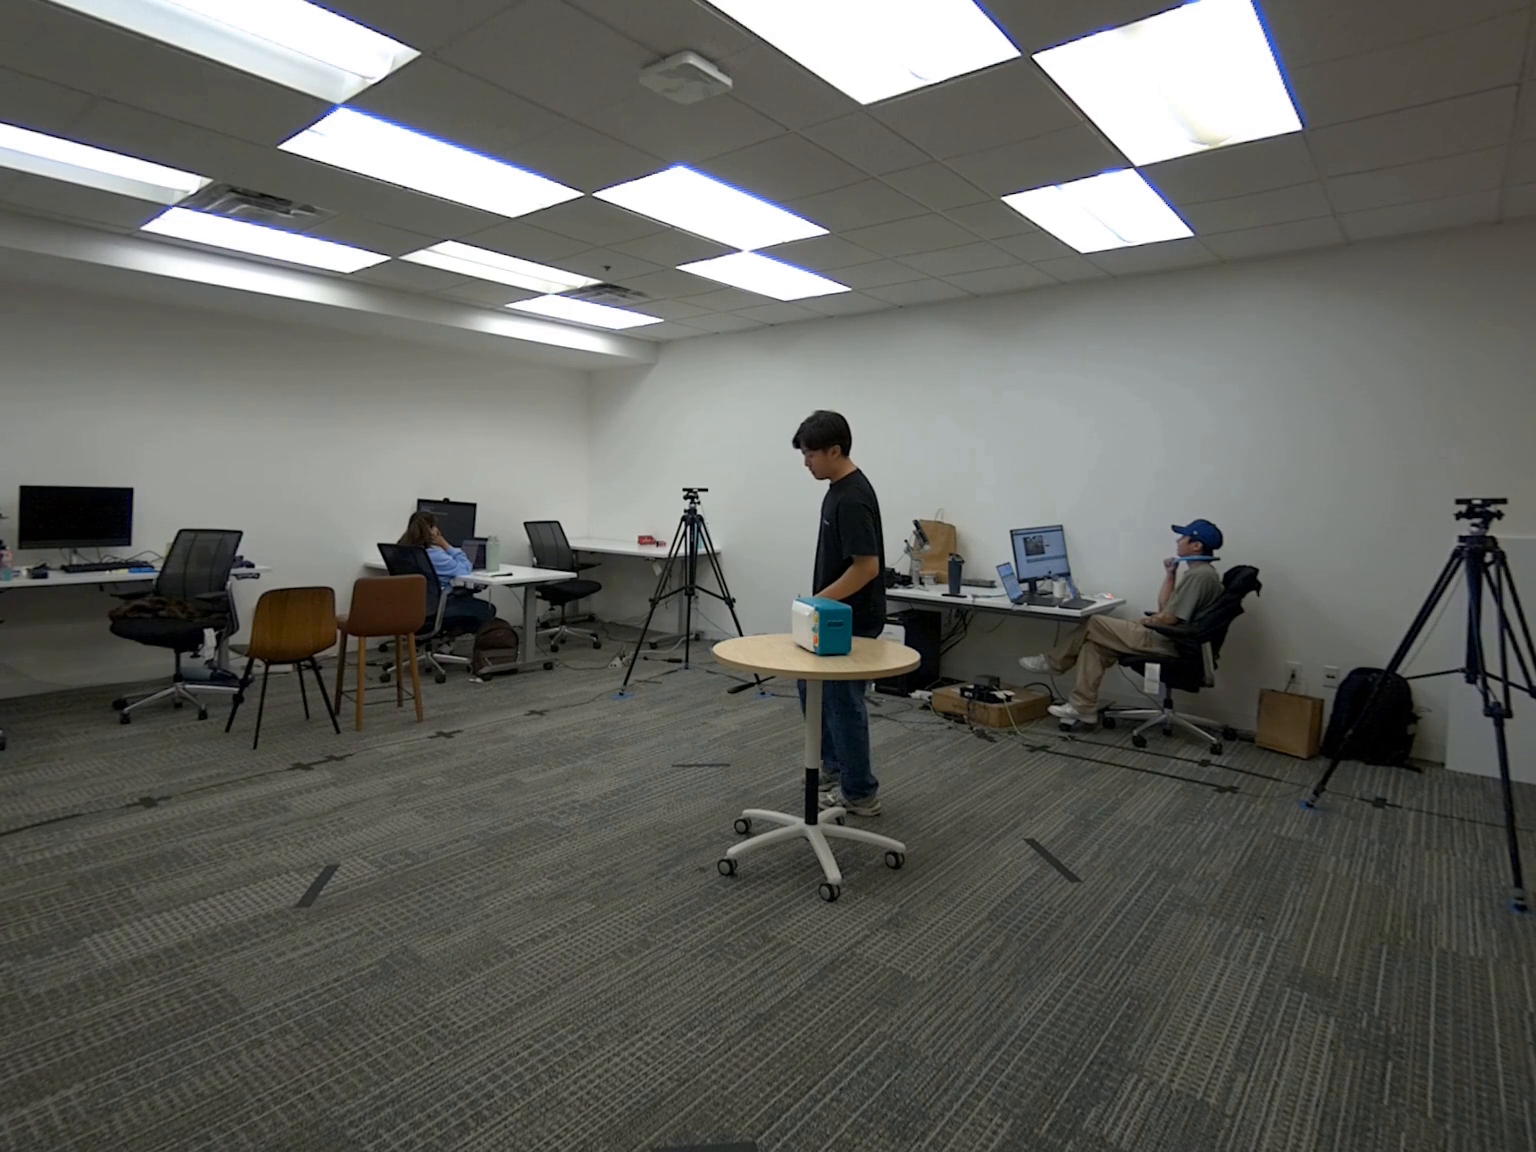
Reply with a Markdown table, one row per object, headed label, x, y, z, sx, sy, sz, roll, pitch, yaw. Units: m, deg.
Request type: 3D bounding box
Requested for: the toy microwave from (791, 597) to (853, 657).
| label | x | y | z | sx | sy | sz | roll | pitch | yaw |
| --- | --- | --- | --- | --- | --- | --- | --- | --- | --- |
| toy microwave | 0.185 | 0.180 | 3.190 | 0.150 | 0.183 | 0.292 | 0 | 5 | -16 |
